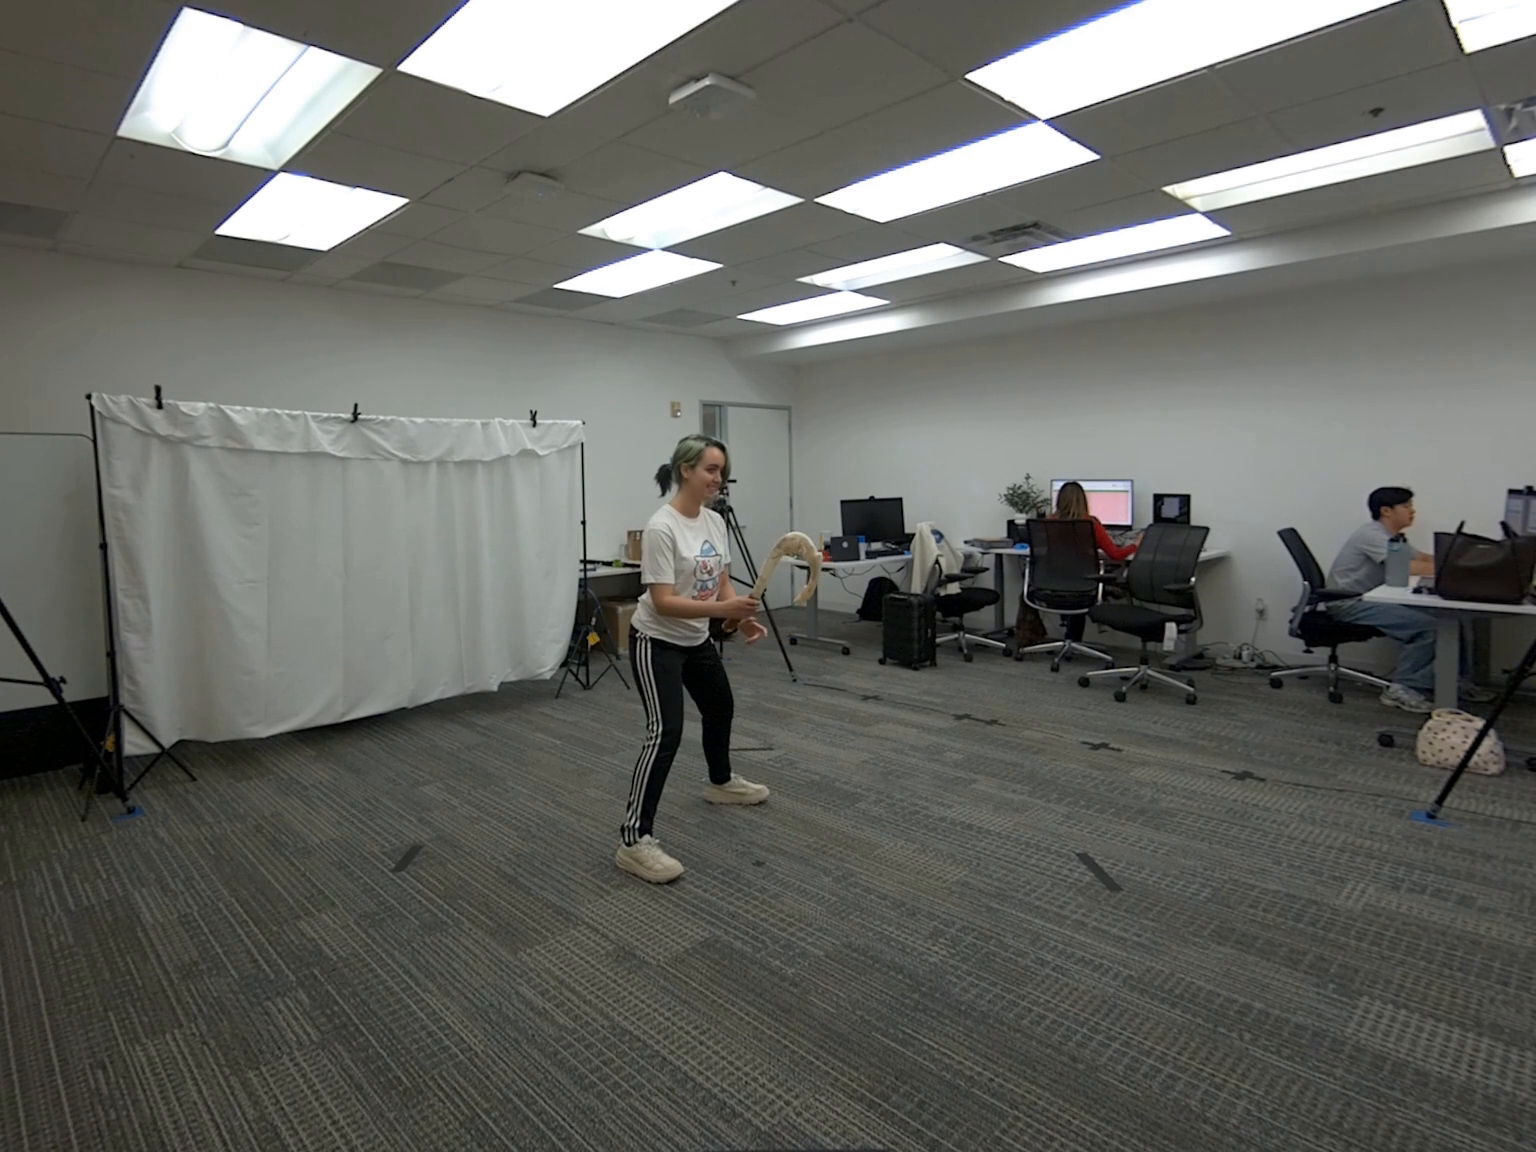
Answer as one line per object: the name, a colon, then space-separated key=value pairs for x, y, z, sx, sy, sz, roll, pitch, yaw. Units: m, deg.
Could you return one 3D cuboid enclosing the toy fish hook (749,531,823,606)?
toy fish hook: x=0.021 y=0.073 z=2.968 sx=0.047 sy=0.232 sz=0.505 roll=5 pitch=-47 yaw=-46
